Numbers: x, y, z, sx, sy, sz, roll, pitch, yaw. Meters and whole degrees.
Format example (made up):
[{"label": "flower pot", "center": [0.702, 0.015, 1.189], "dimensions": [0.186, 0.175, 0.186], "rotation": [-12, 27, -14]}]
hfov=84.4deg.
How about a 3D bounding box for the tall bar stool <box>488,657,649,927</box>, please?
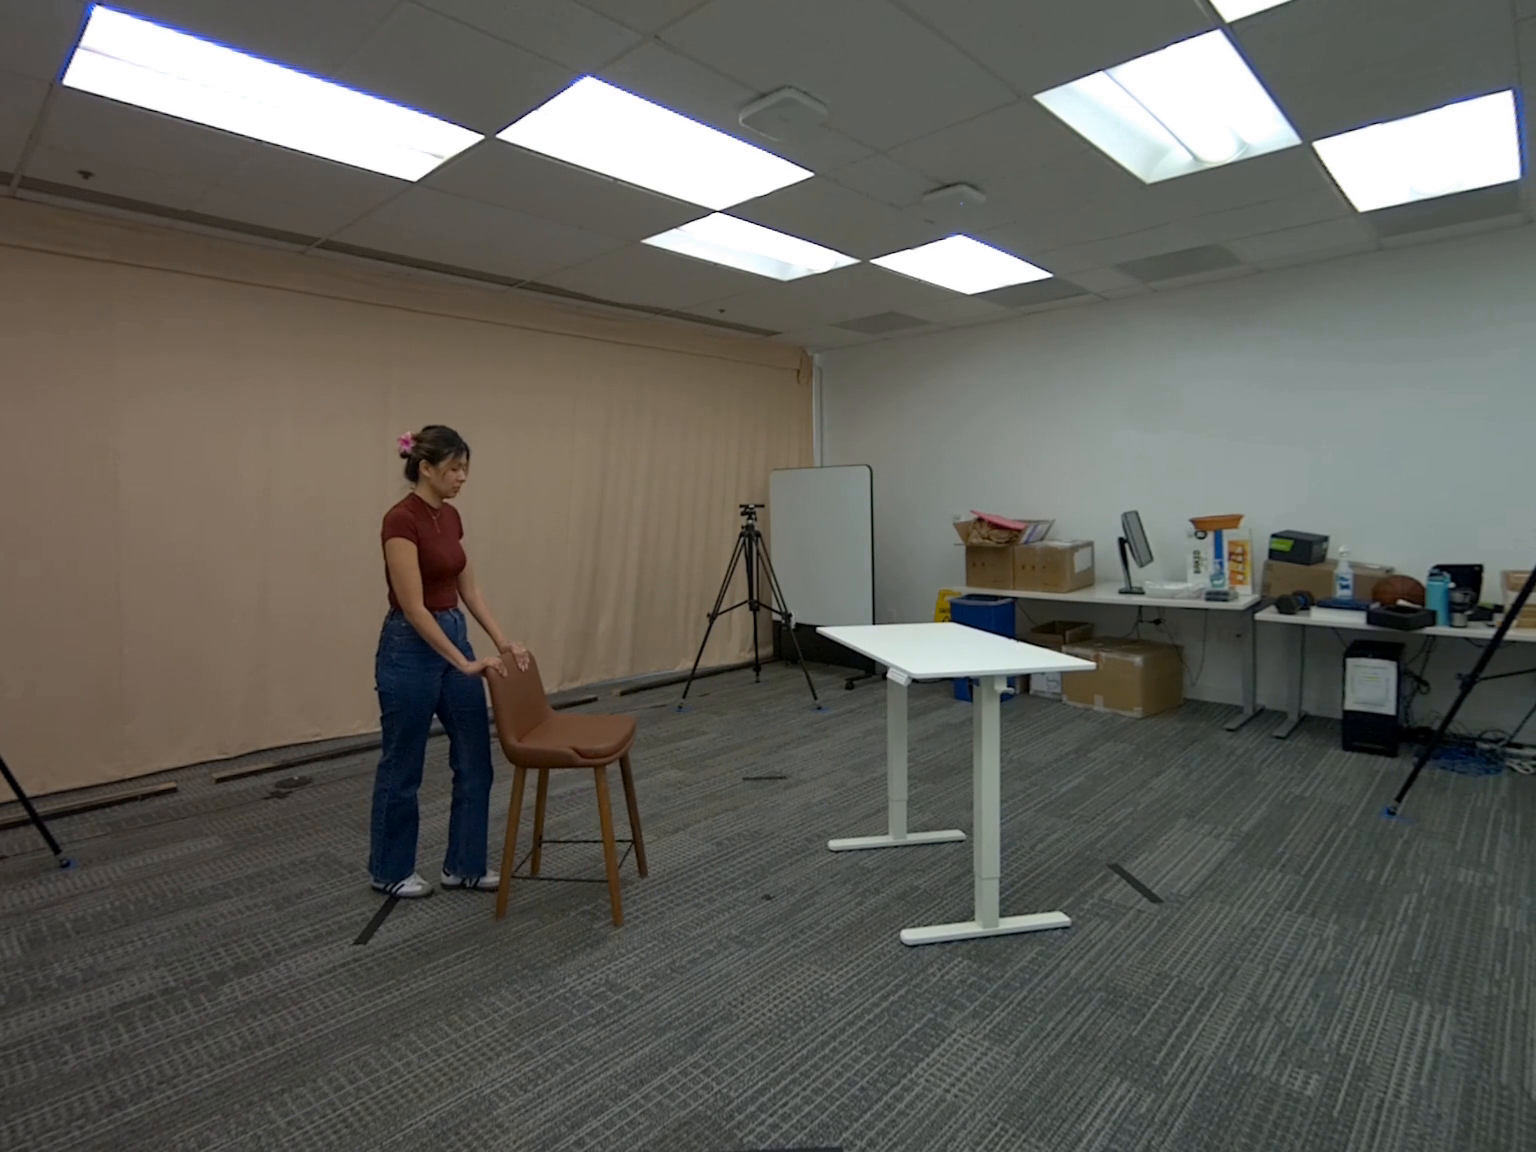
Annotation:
[{"label": "tall bar stool", "center": [-0.714, 0.718, 2.995], "dimensions": [0.471, 0.888, 0.454], "rotation": [-3, 3, 6]}]
